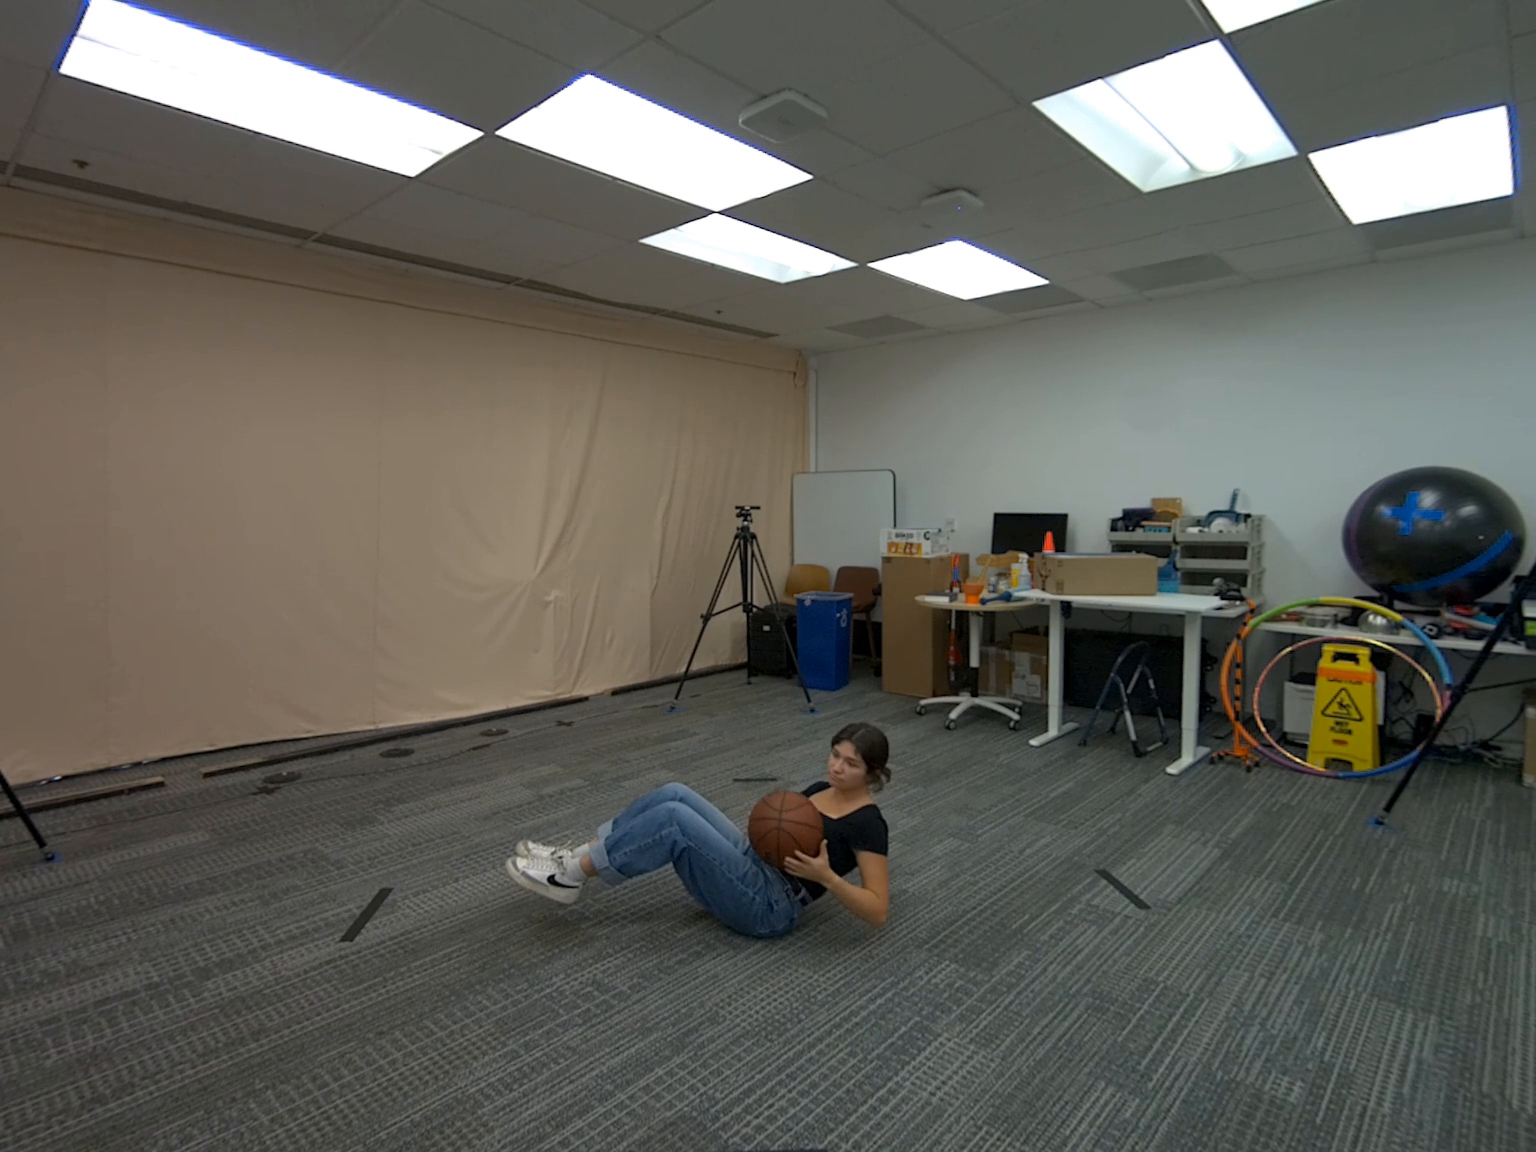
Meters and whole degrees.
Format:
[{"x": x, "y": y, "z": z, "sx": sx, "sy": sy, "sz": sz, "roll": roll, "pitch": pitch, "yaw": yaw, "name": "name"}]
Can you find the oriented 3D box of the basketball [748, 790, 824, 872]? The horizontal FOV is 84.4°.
[{"x": 0.063, "y": 0.803, "z": 2.656, "sx": 0.236, "sy": 0.235, "sz": 0.237, "roll": 0, "pitch": 4, "yaw": -2, "name": "basketball"}]
